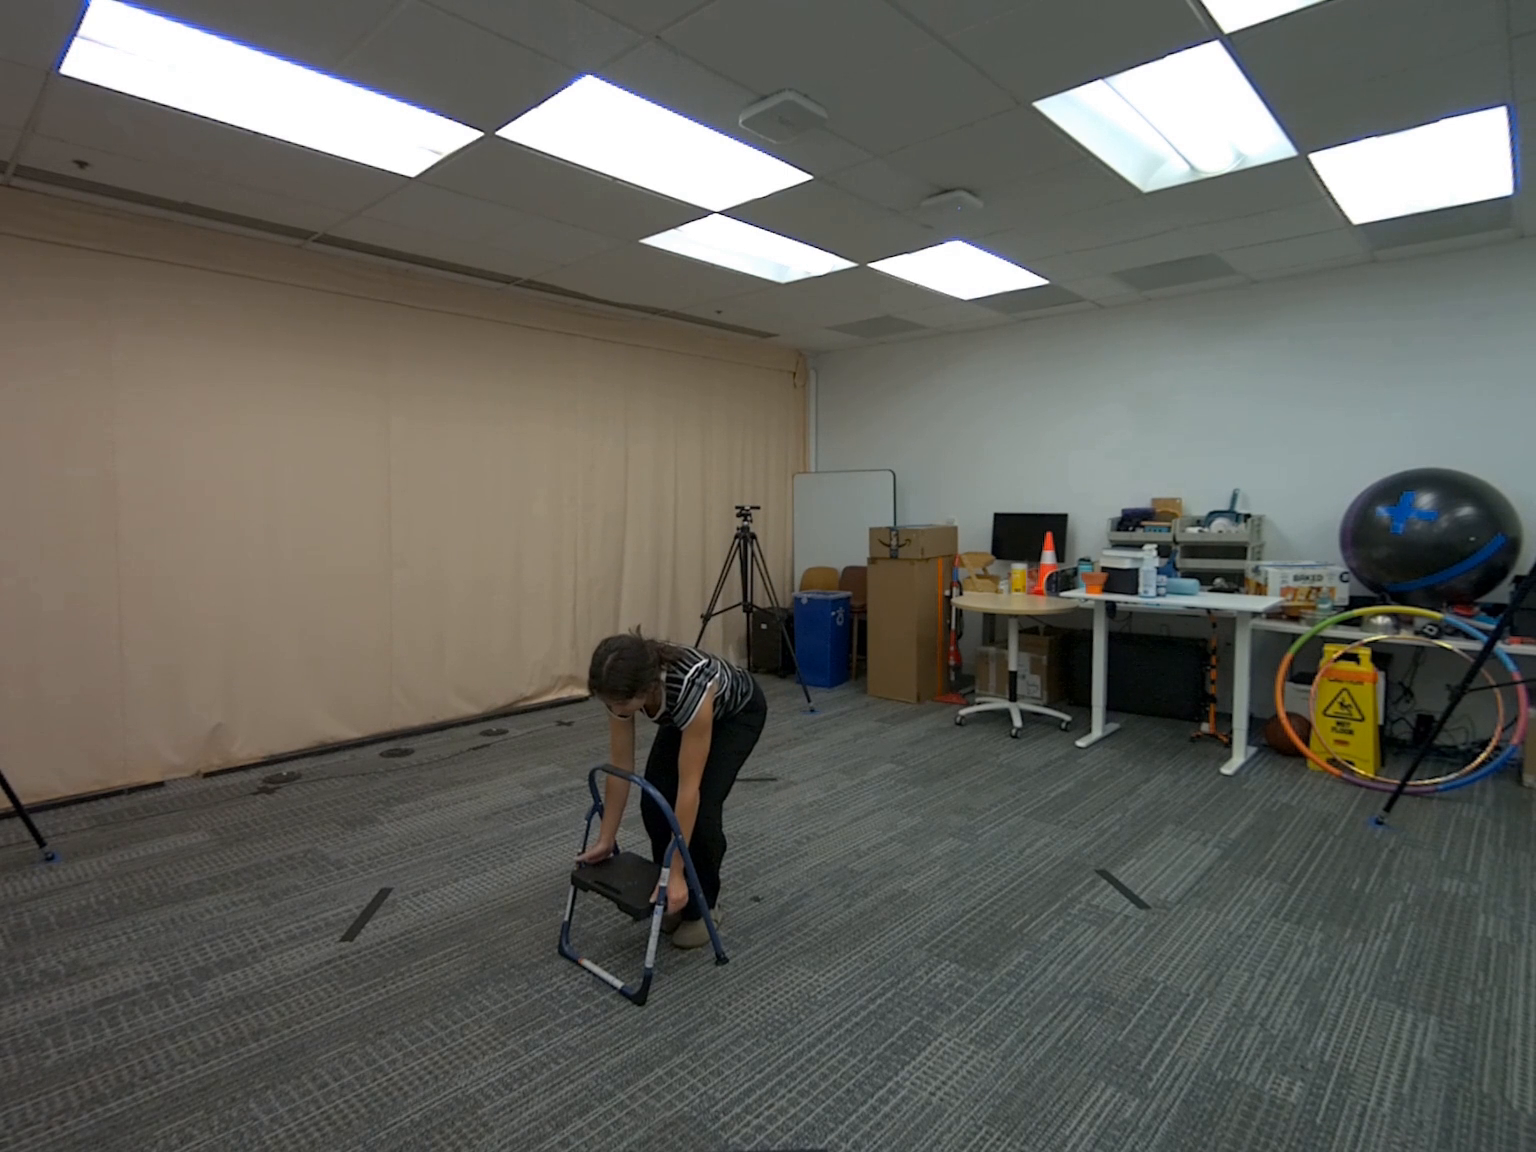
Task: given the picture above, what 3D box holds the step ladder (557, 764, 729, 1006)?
[{"bbox_3d":[-0.390,0.873,2.588,0.445,0.605,0.338,4,5,43],"label":"step ladder"}]
